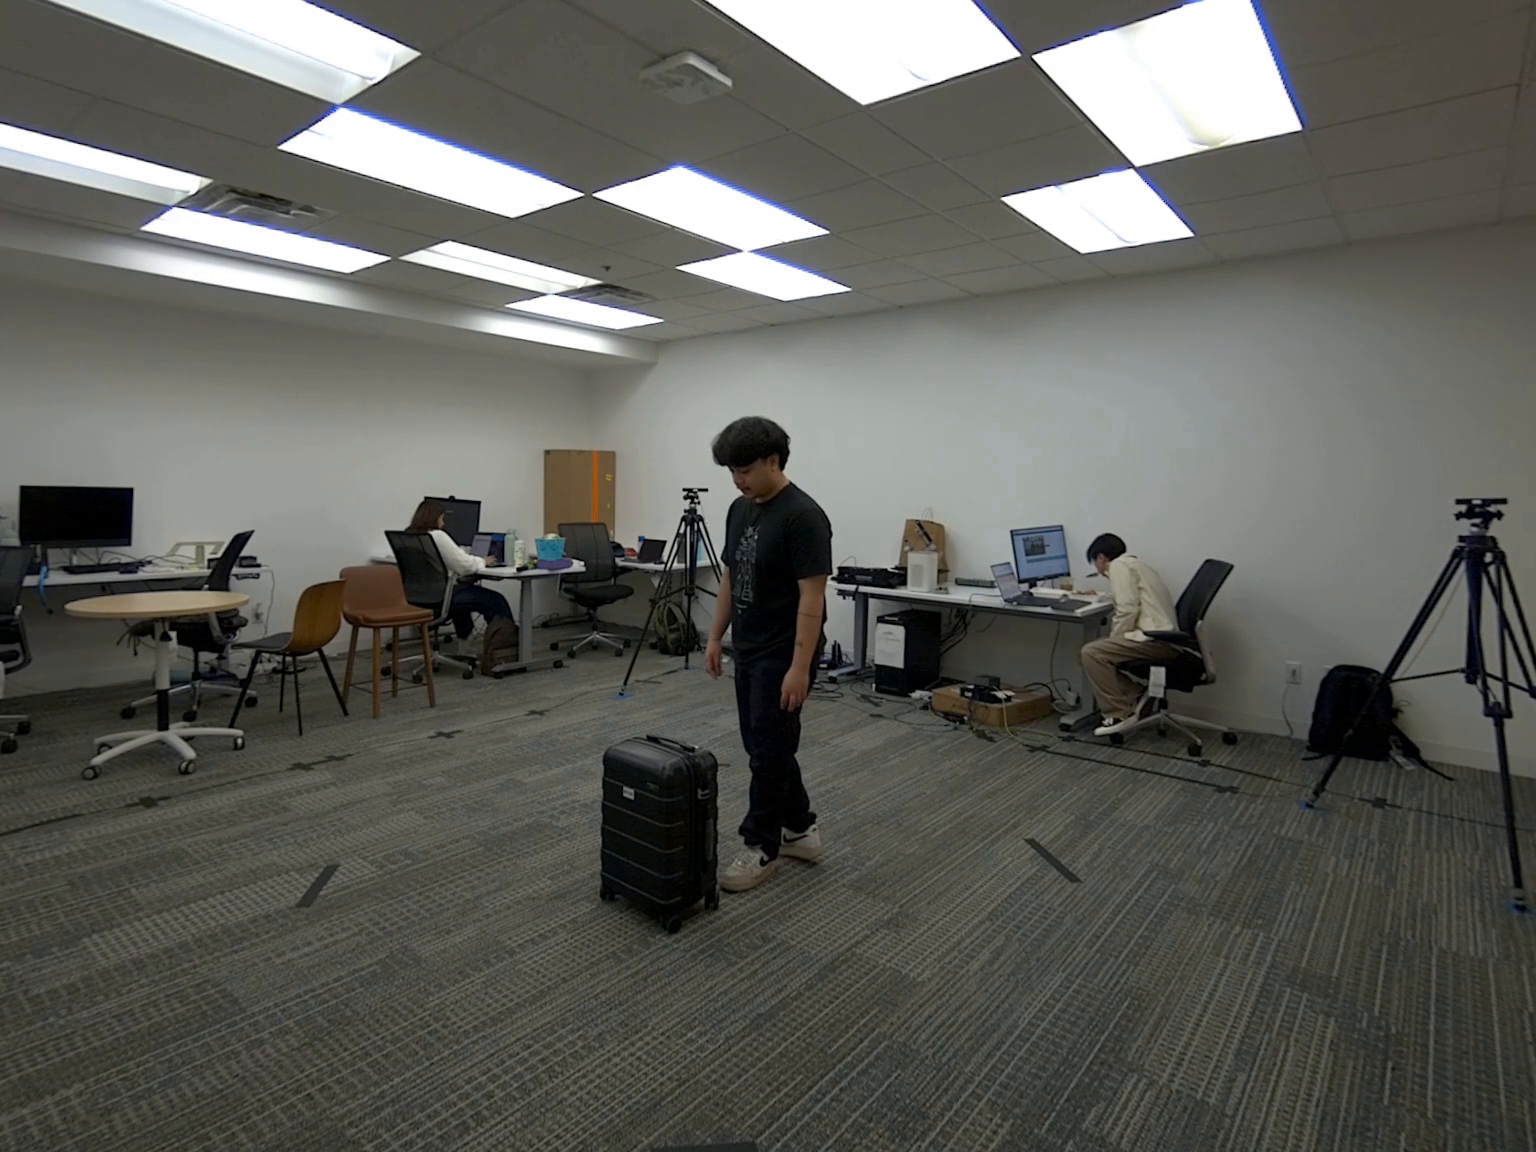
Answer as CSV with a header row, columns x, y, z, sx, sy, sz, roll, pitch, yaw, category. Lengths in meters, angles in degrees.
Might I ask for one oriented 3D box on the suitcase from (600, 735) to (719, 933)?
x,y,z,sx,sy,sz,roll,pitch,yaw,category
-0.366,0.825,2.804,0.388,0.547,0.241,4,6,41,suitcase
